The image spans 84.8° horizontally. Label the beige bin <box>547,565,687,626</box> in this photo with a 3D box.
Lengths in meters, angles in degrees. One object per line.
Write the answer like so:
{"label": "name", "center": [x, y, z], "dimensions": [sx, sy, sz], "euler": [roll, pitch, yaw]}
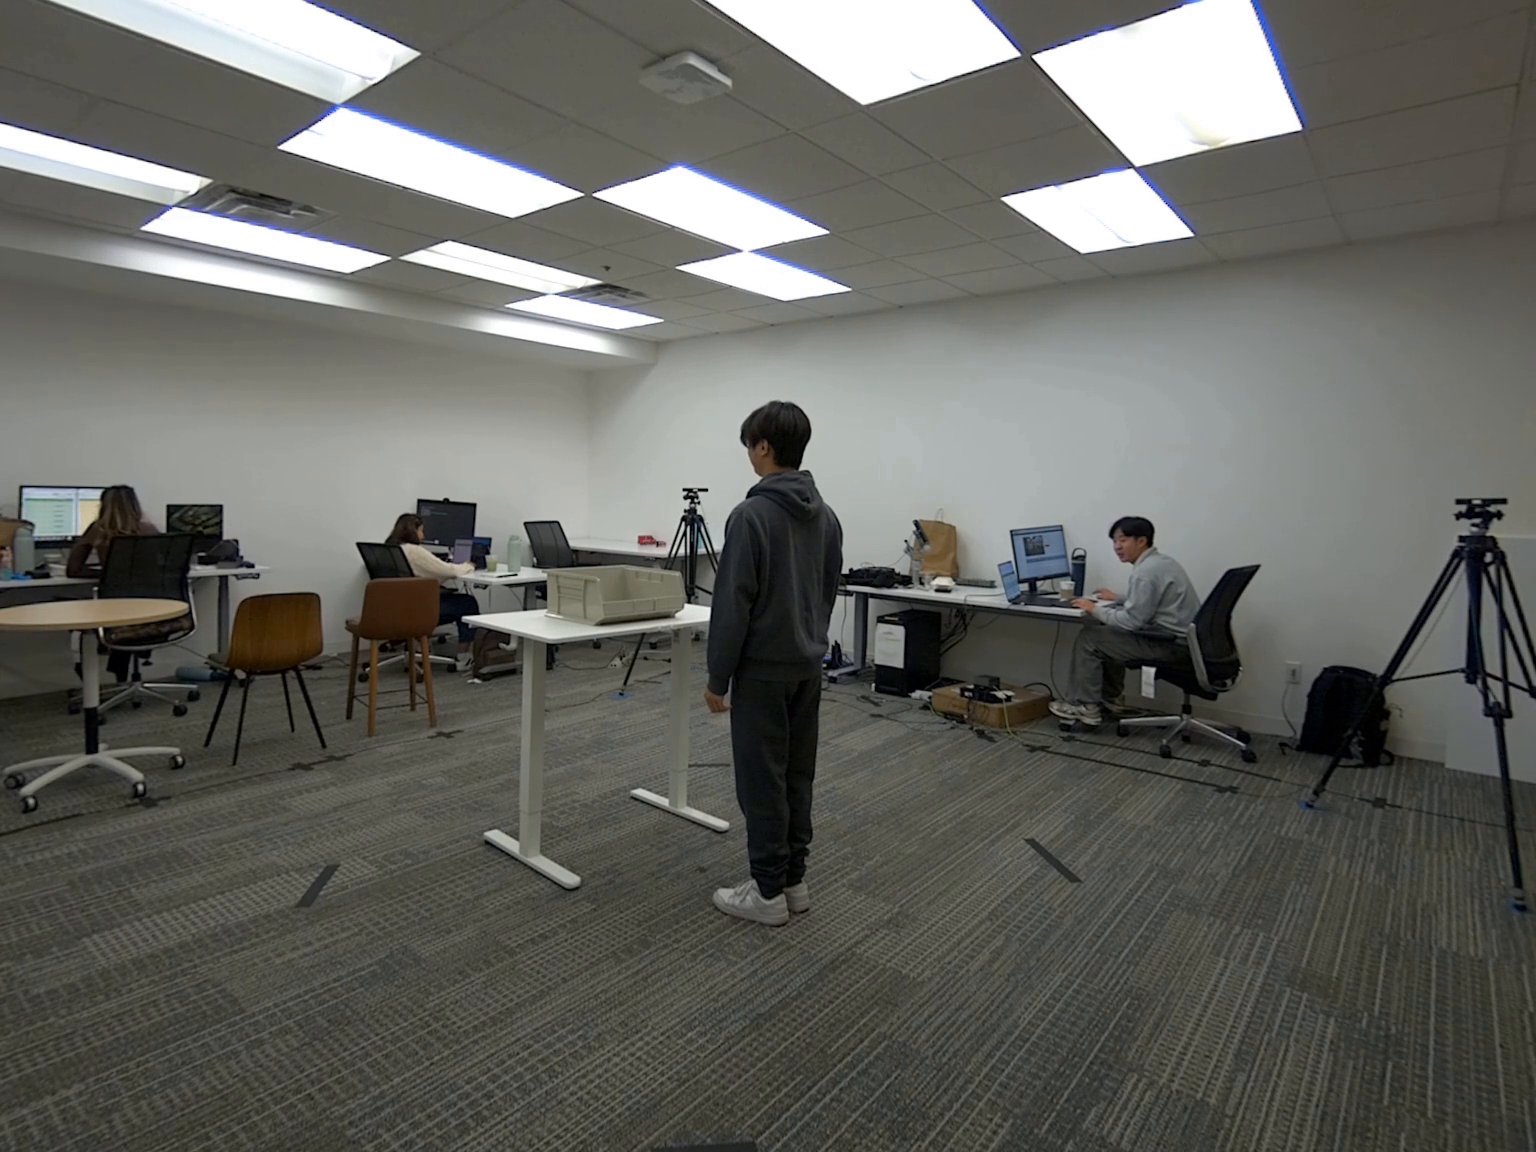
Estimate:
{"label": "beige bin", "center": [-0.610, 0.071, 3.328], "dimensions": [0.390, 0.188, 0.409], "euler": [5, 6, 42]}
